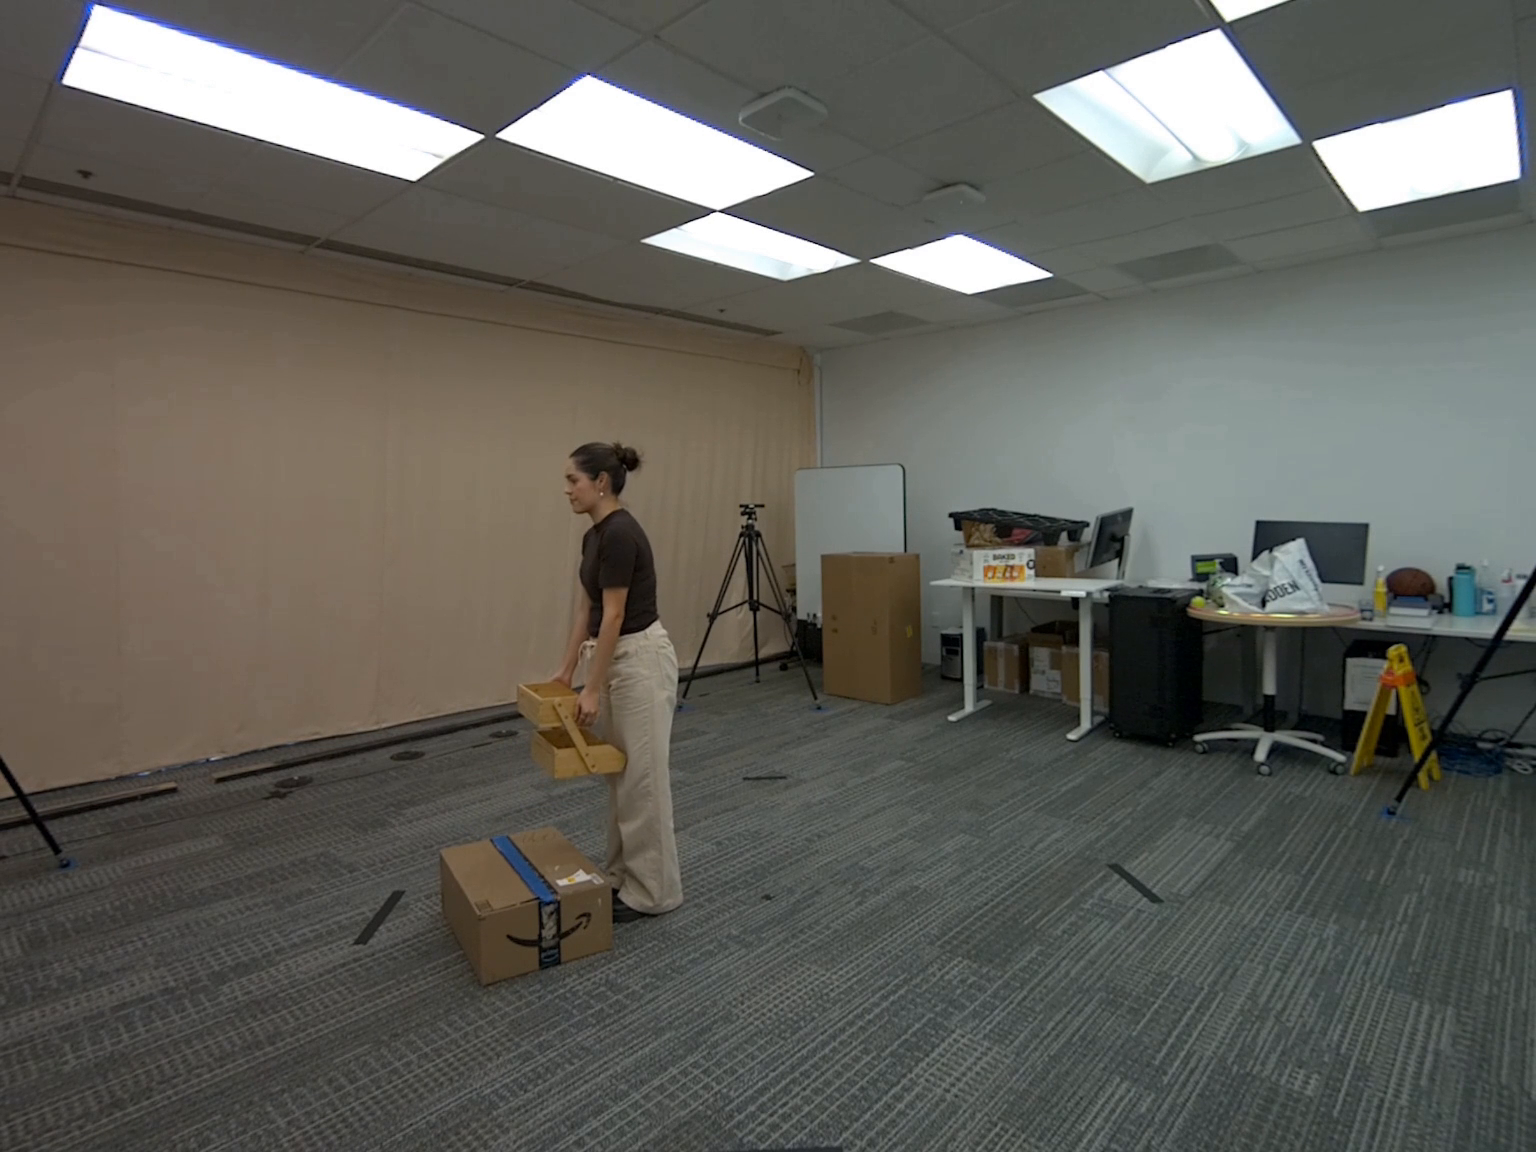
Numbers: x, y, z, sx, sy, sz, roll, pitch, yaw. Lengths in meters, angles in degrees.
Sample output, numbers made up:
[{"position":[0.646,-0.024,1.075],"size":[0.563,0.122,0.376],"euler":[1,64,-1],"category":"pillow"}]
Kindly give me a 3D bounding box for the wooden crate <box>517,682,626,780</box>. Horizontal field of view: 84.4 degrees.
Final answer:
[{"position":[-0.667,0.515,2.867],"size":[0.294,0.273,0.333],"euler":[0,1,-27],"category":"wooden crate"}]
